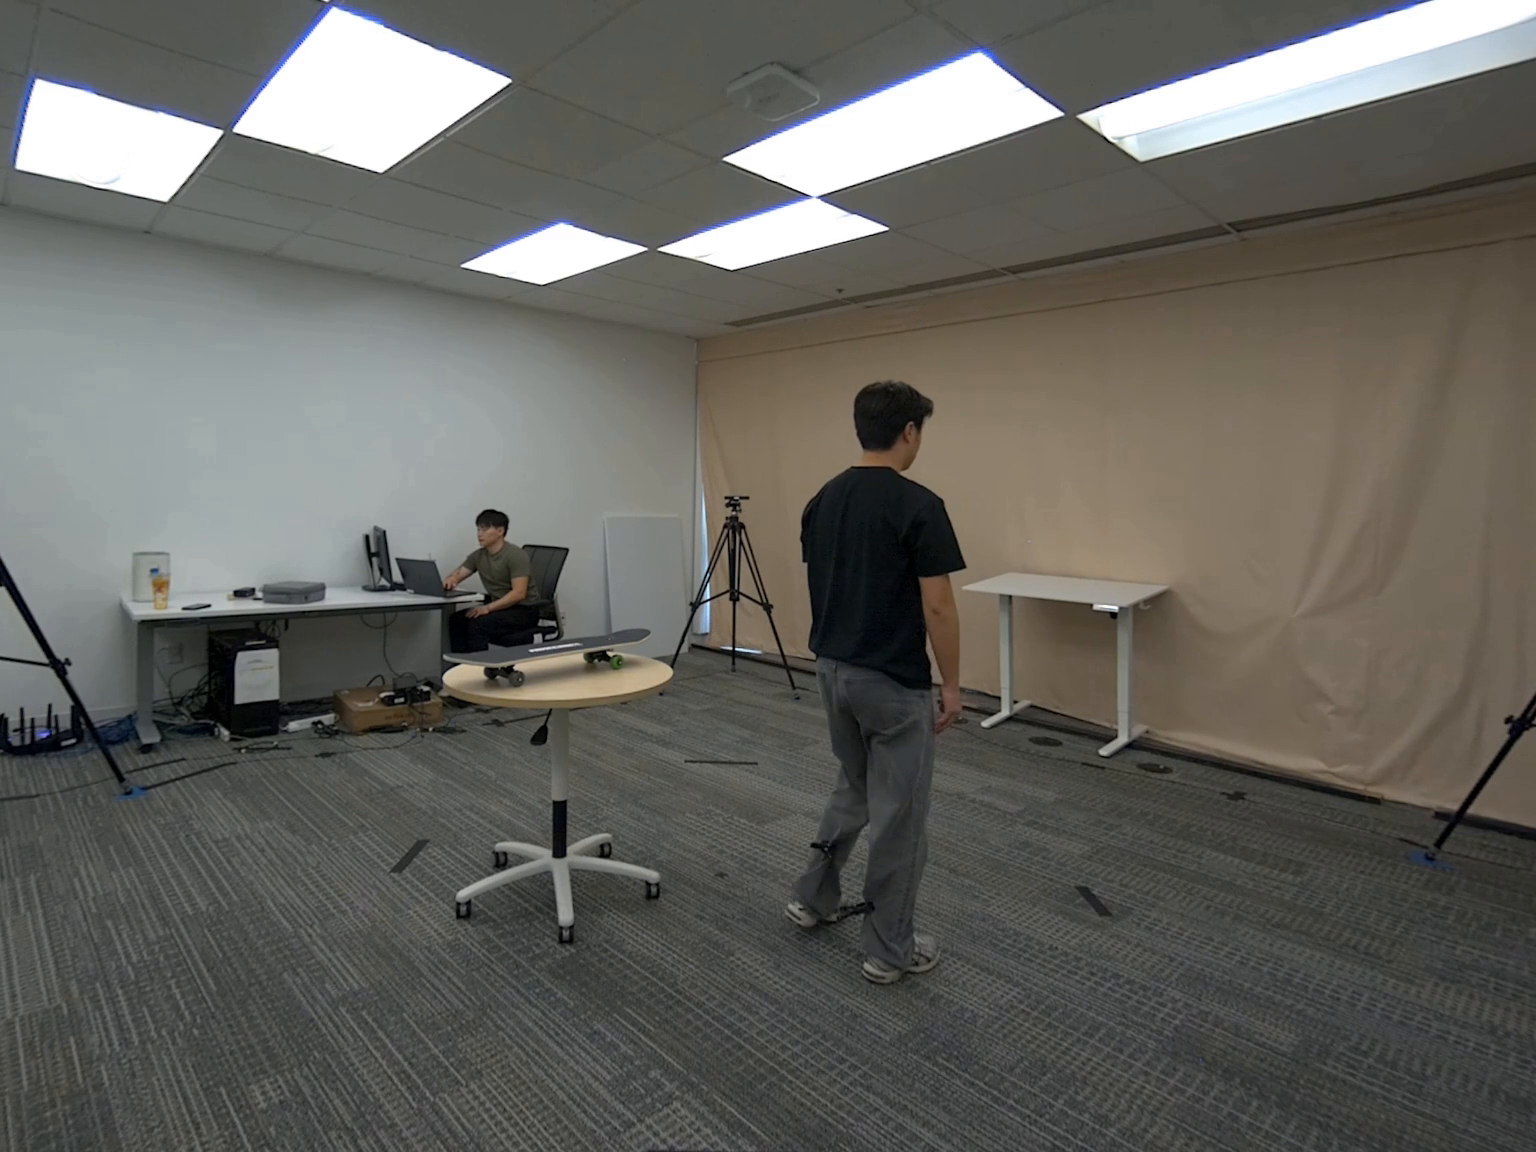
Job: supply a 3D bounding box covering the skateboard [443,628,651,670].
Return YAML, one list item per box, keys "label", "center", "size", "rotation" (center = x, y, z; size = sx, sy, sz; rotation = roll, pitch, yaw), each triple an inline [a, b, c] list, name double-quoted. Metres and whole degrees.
- label: "skateboard"
  center: [-0.722, 0.283, 2.848]
  size: [0.198, 0.110, 0.768]
  rotation: [4, 7, 42]
